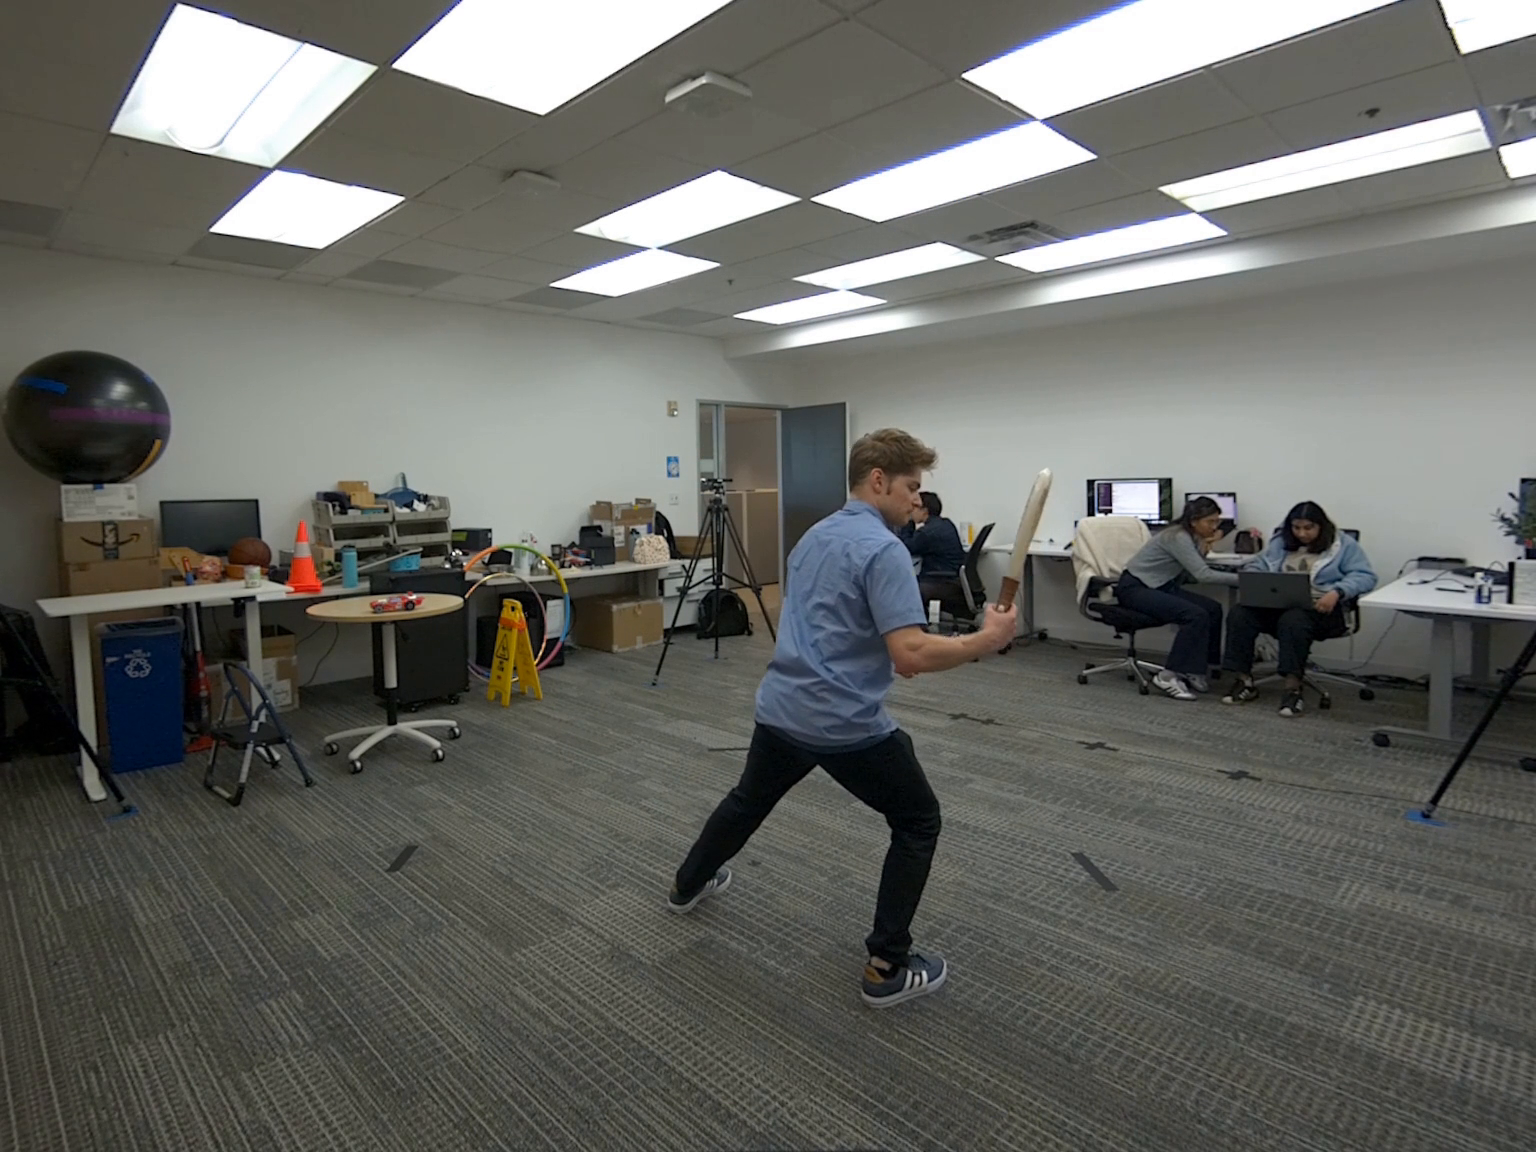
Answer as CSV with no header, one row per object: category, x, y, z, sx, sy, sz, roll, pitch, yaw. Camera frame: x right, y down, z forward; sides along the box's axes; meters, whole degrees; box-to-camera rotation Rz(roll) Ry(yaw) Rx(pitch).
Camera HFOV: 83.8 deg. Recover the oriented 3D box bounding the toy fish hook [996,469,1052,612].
toy fish hook,0.686,-0.044,2.316,0.050,0.506,0.218,18,3,25
